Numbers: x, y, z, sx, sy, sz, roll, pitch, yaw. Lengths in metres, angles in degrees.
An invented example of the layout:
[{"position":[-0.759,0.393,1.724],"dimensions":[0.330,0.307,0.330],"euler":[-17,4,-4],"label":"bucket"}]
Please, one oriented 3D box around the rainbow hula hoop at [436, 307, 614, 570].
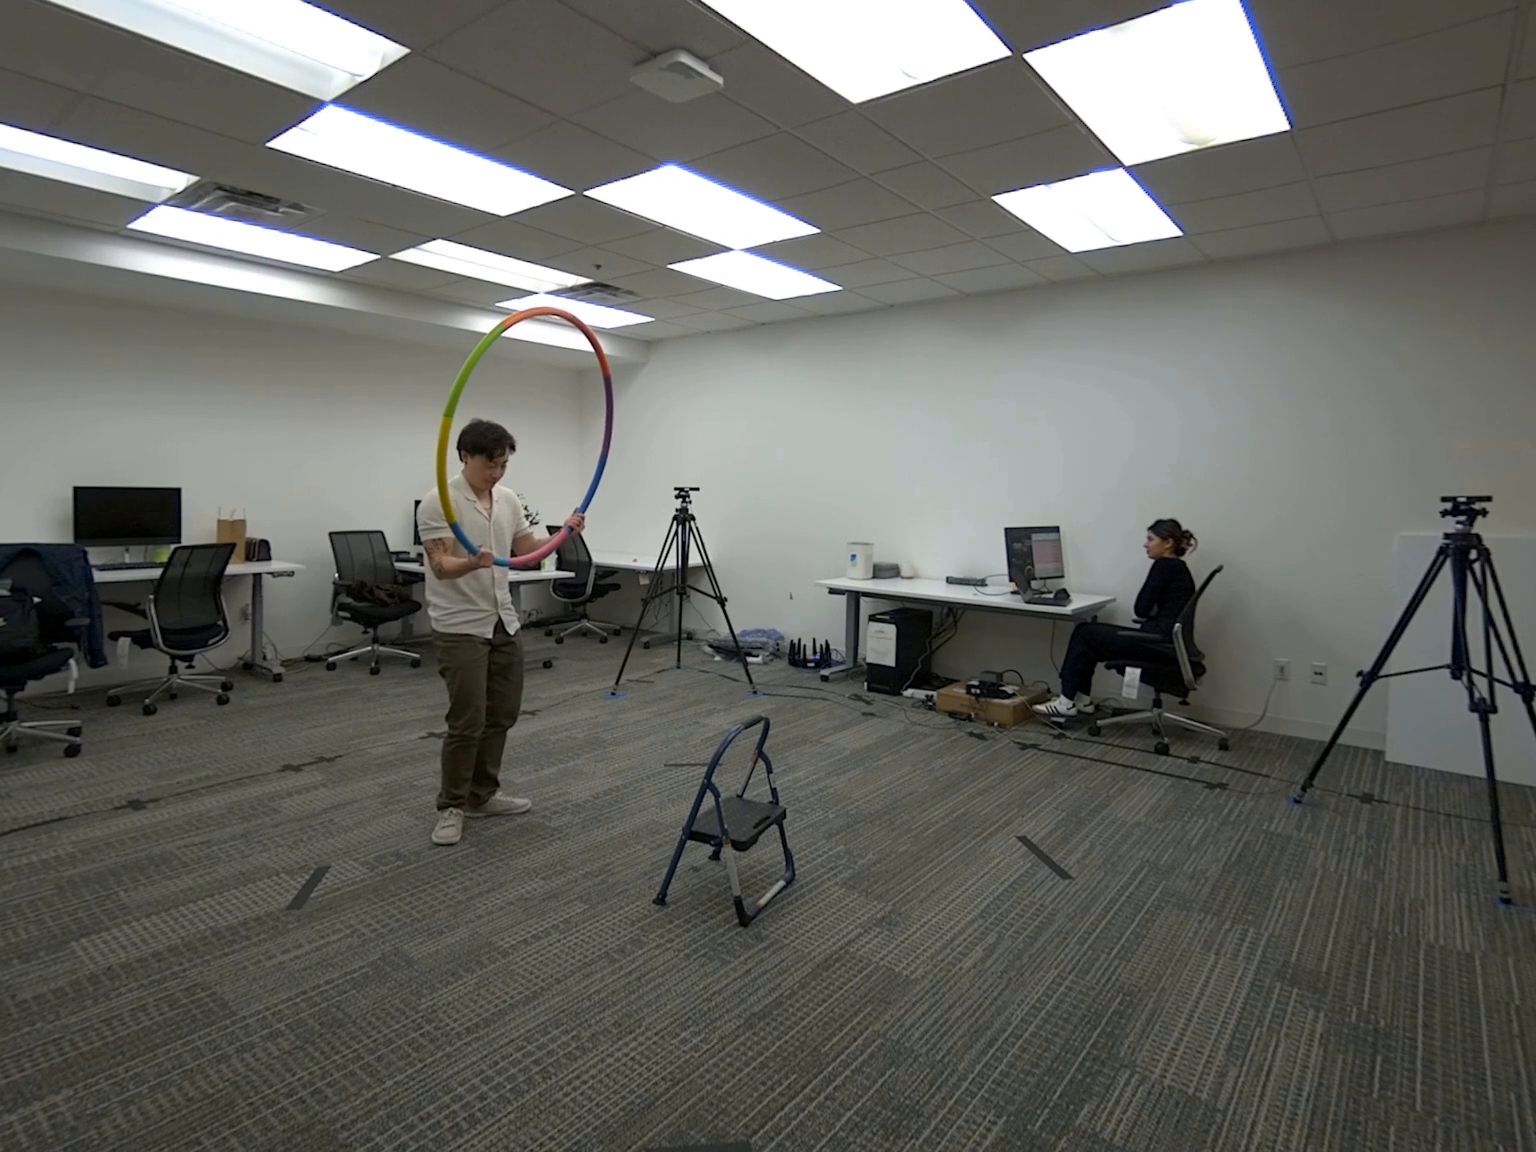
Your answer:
[{"position":[-0.888,-0.509,3.197],"dimensions":[0.036,0.972,0.958],"euler":[17,10,21],"label":"rainbow hula hoop"}]
